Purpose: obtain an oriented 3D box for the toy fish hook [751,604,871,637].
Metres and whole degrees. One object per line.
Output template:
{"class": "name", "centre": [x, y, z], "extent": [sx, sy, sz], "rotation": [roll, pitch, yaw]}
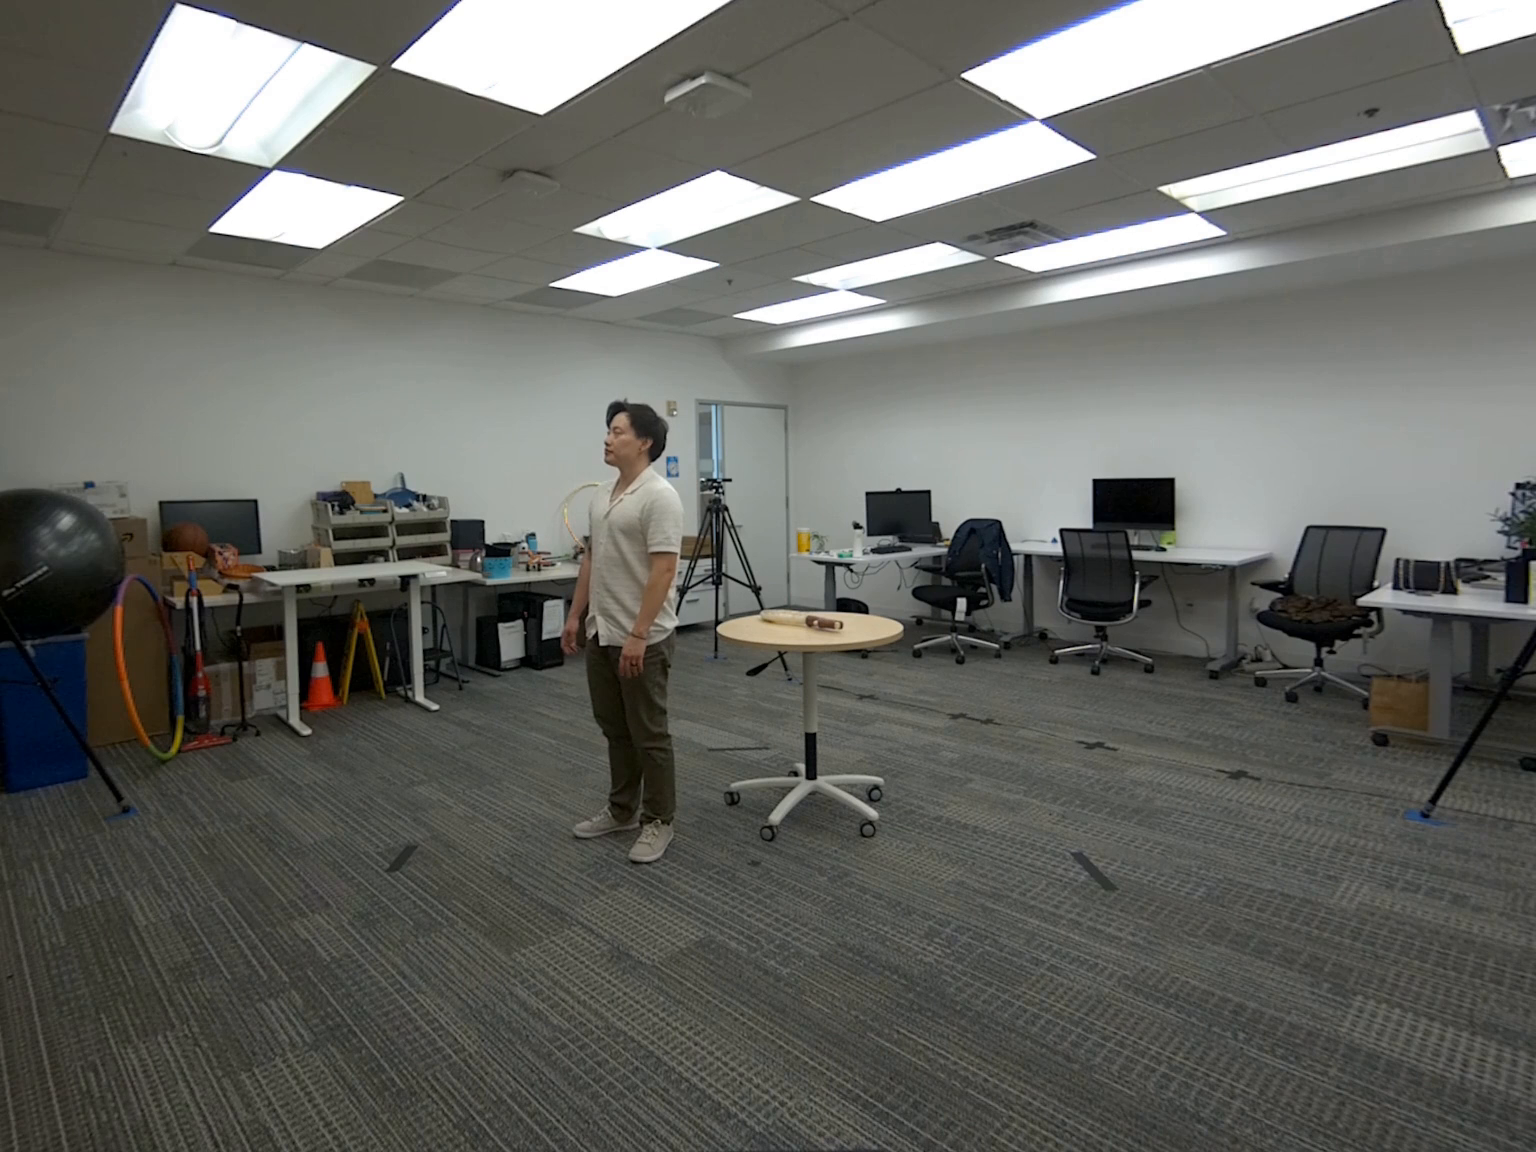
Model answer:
{"class": "toy fish hook", "centre": [0.167, 0.180, 3.602], "extent": [0.219, 0.048, 0.522], "rotation": [-5, 7, -35]}
